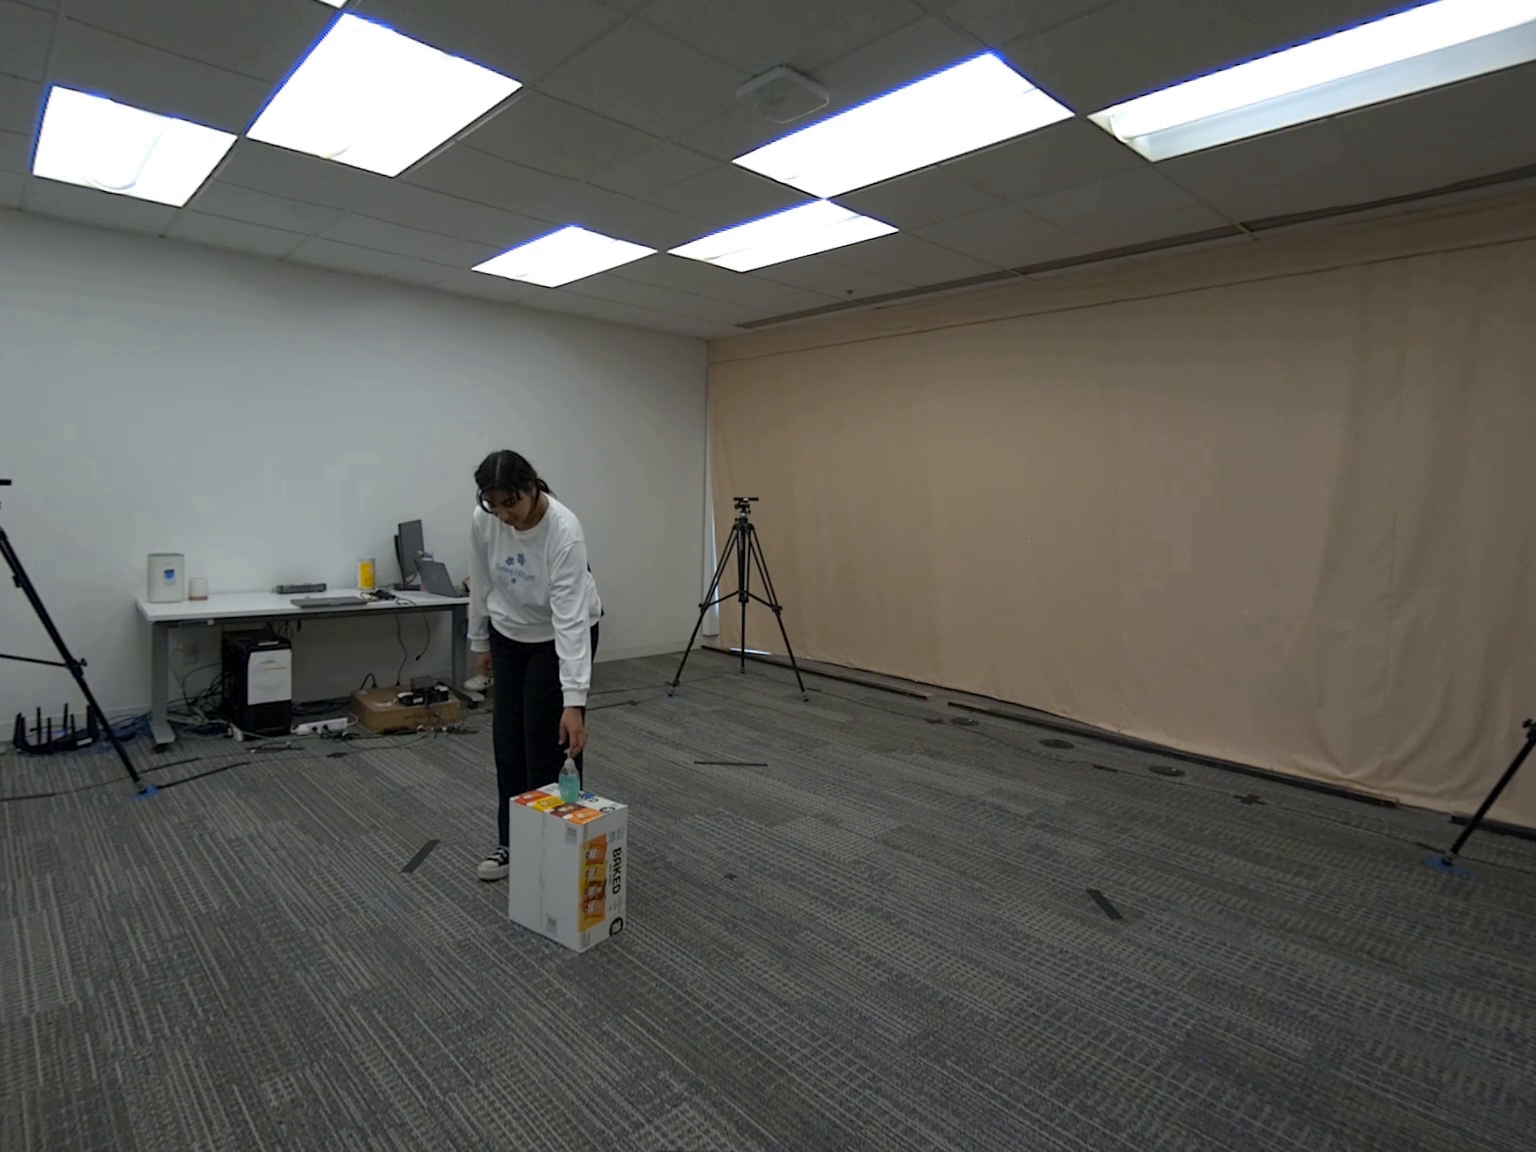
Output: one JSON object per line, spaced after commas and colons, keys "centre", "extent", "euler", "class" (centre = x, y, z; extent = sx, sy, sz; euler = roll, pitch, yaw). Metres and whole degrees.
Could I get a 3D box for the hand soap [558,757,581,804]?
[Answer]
{"centre": [-0.641, 0.645, 2.721], "extent": [0.086, 0.167, 0.042], "euler": [3, 6, 30], "class": "hand soap"}
